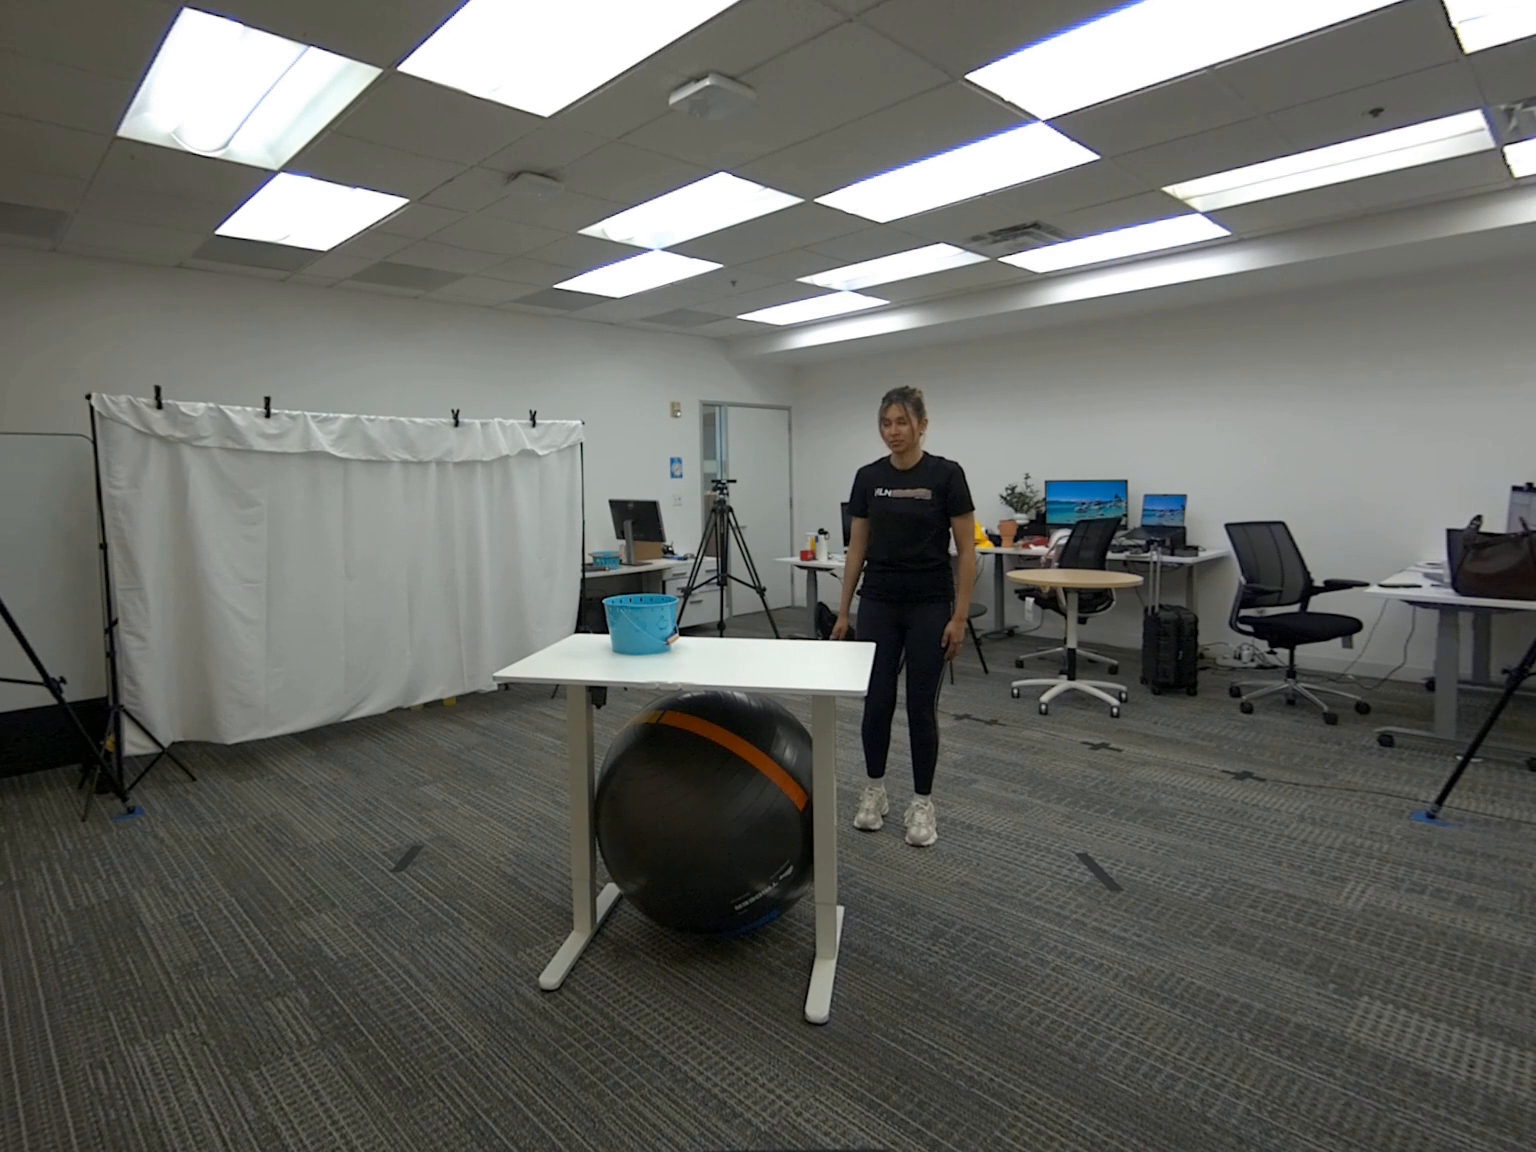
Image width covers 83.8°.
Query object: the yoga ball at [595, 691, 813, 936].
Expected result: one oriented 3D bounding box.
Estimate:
[{"bbox_3d":[-0.170,0.748,2.692,0.757,0.755,0.762,-1,5,-2],"label":"yoga ball"}]
